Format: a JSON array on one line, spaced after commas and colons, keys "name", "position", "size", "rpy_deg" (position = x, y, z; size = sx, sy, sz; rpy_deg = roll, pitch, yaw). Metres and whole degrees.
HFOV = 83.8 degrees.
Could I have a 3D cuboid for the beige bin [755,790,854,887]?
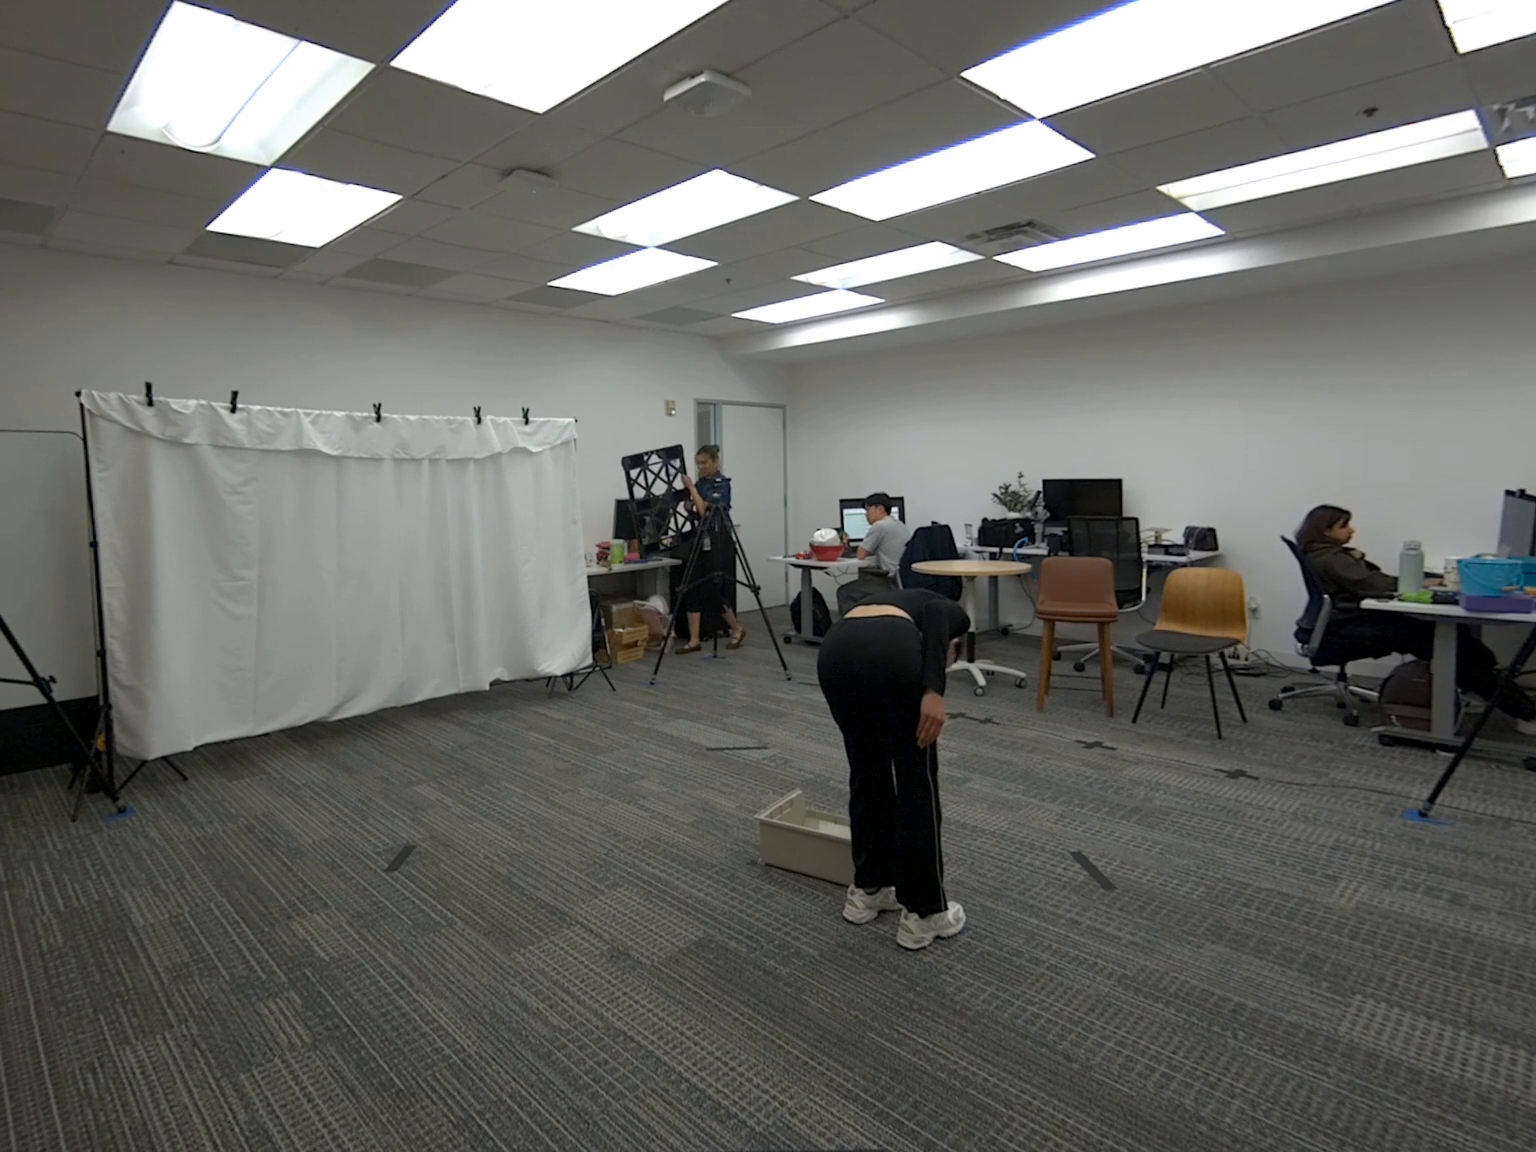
[{"name": "beige bin", "position": [0.227, 0.951, 3.122], "size": [0.434, 0.188, 0.369], "rpy_deg": [3, 8, 32]}]
